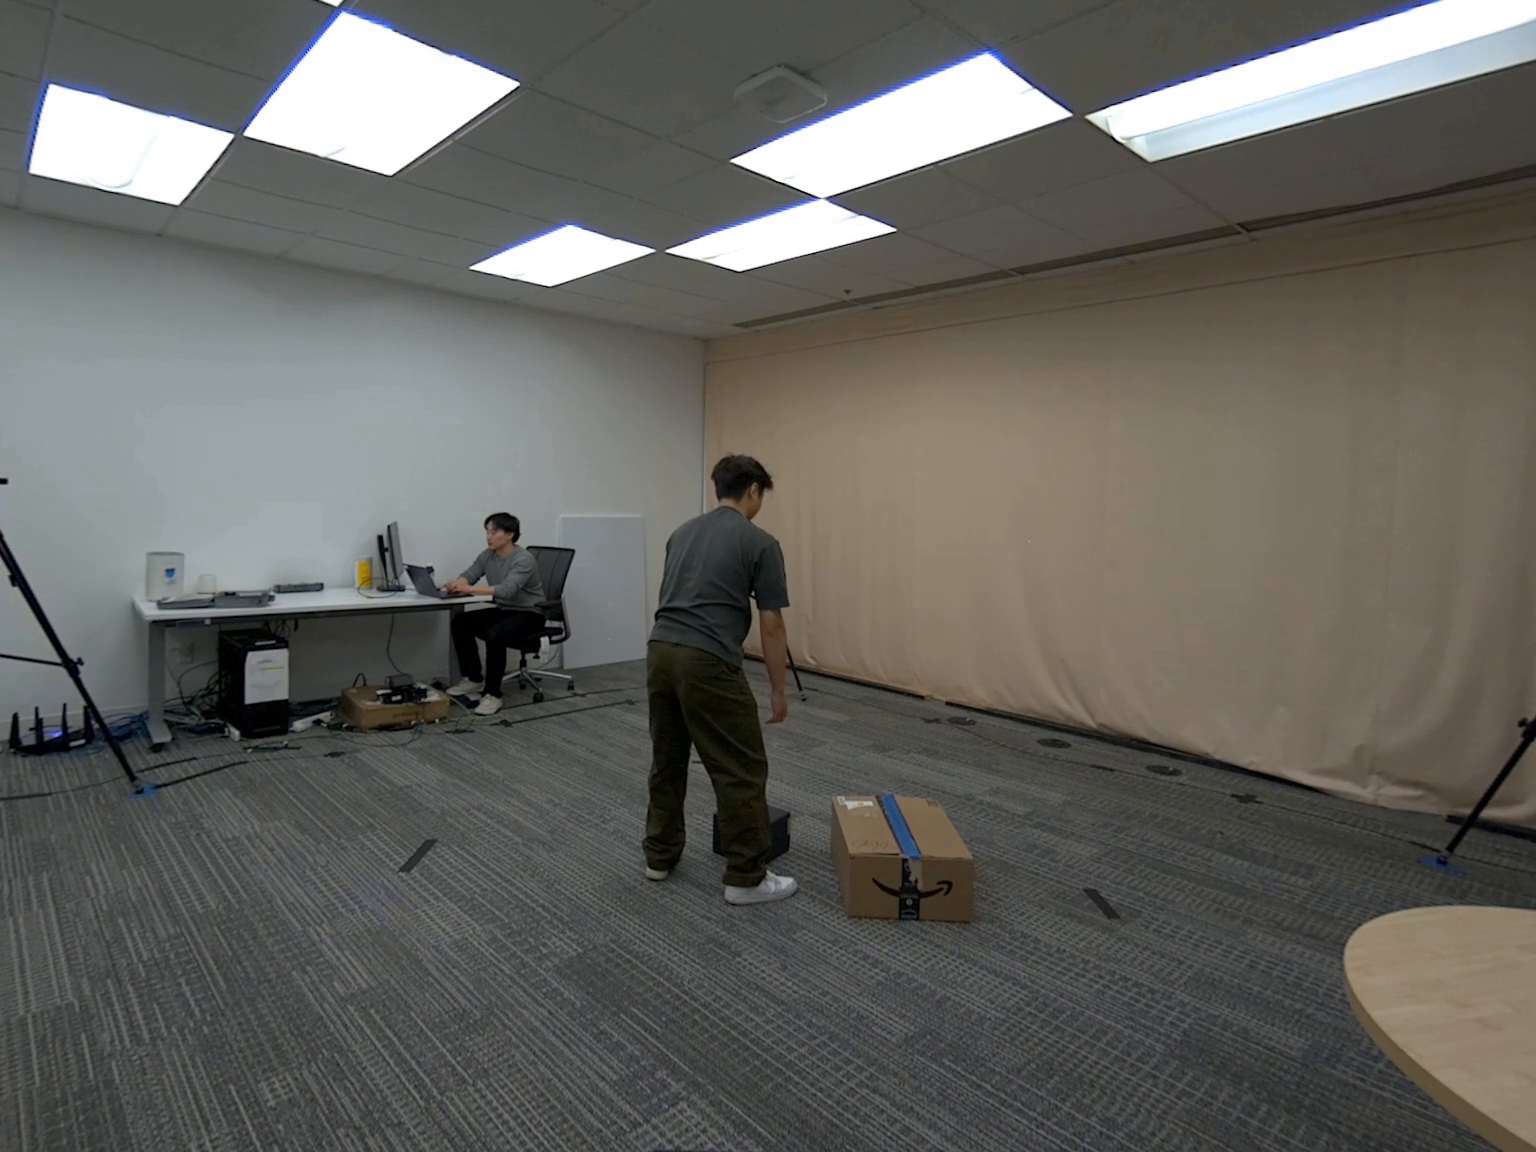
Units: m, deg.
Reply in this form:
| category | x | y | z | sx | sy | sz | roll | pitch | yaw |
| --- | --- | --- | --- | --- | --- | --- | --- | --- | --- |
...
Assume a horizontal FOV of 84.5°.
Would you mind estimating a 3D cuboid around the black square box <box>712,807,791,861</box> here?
| category | x | y | z | sx | sy | sz | roll | pitch | yaw |
| --- | --- | --- | --- | --- | --- | --- | --- | --- | --- |
| black square box | -0.067 | 1.009 | 3.318 | 0.233 | 0.155 | 0.212 | 4 | 5 | 34 |
